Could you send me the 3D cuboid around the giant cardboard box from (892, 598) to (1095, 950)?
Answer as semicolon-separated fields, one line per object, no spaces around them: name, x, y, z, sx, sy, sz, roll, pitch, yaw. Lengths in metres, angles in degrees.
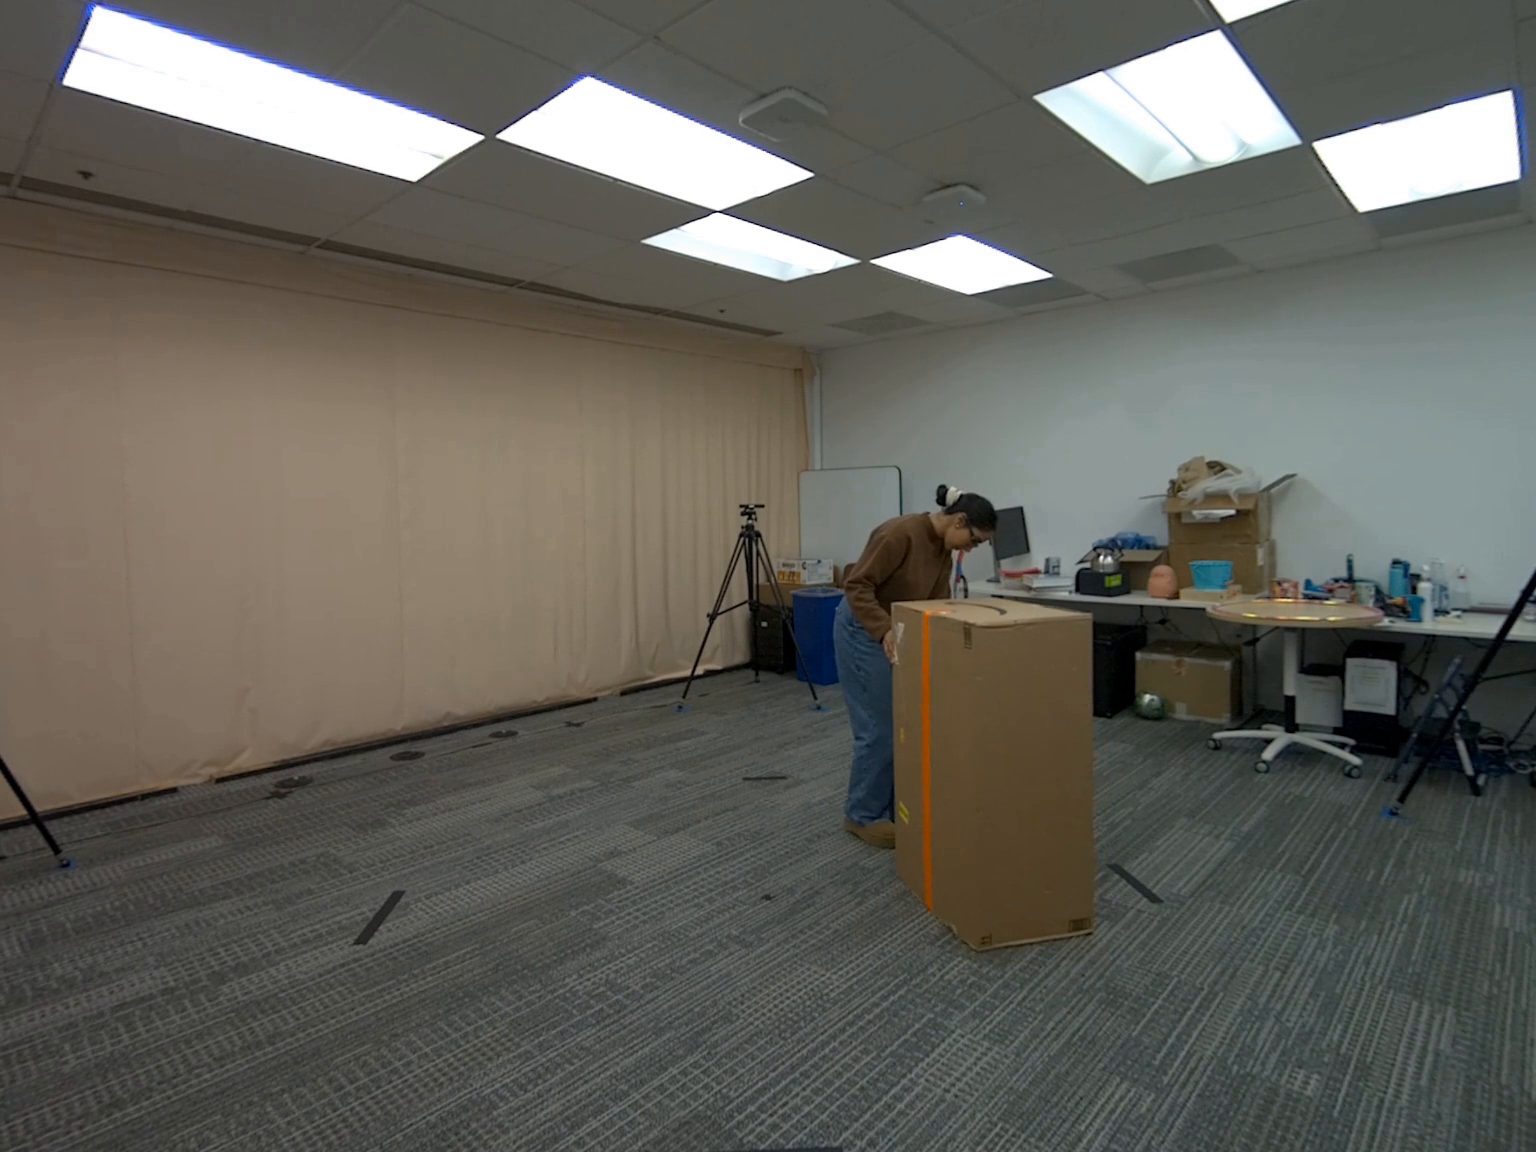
giant cardboard box;0.747;0.623;2.886;0.420;1.023;0.587;-2;4;-14
